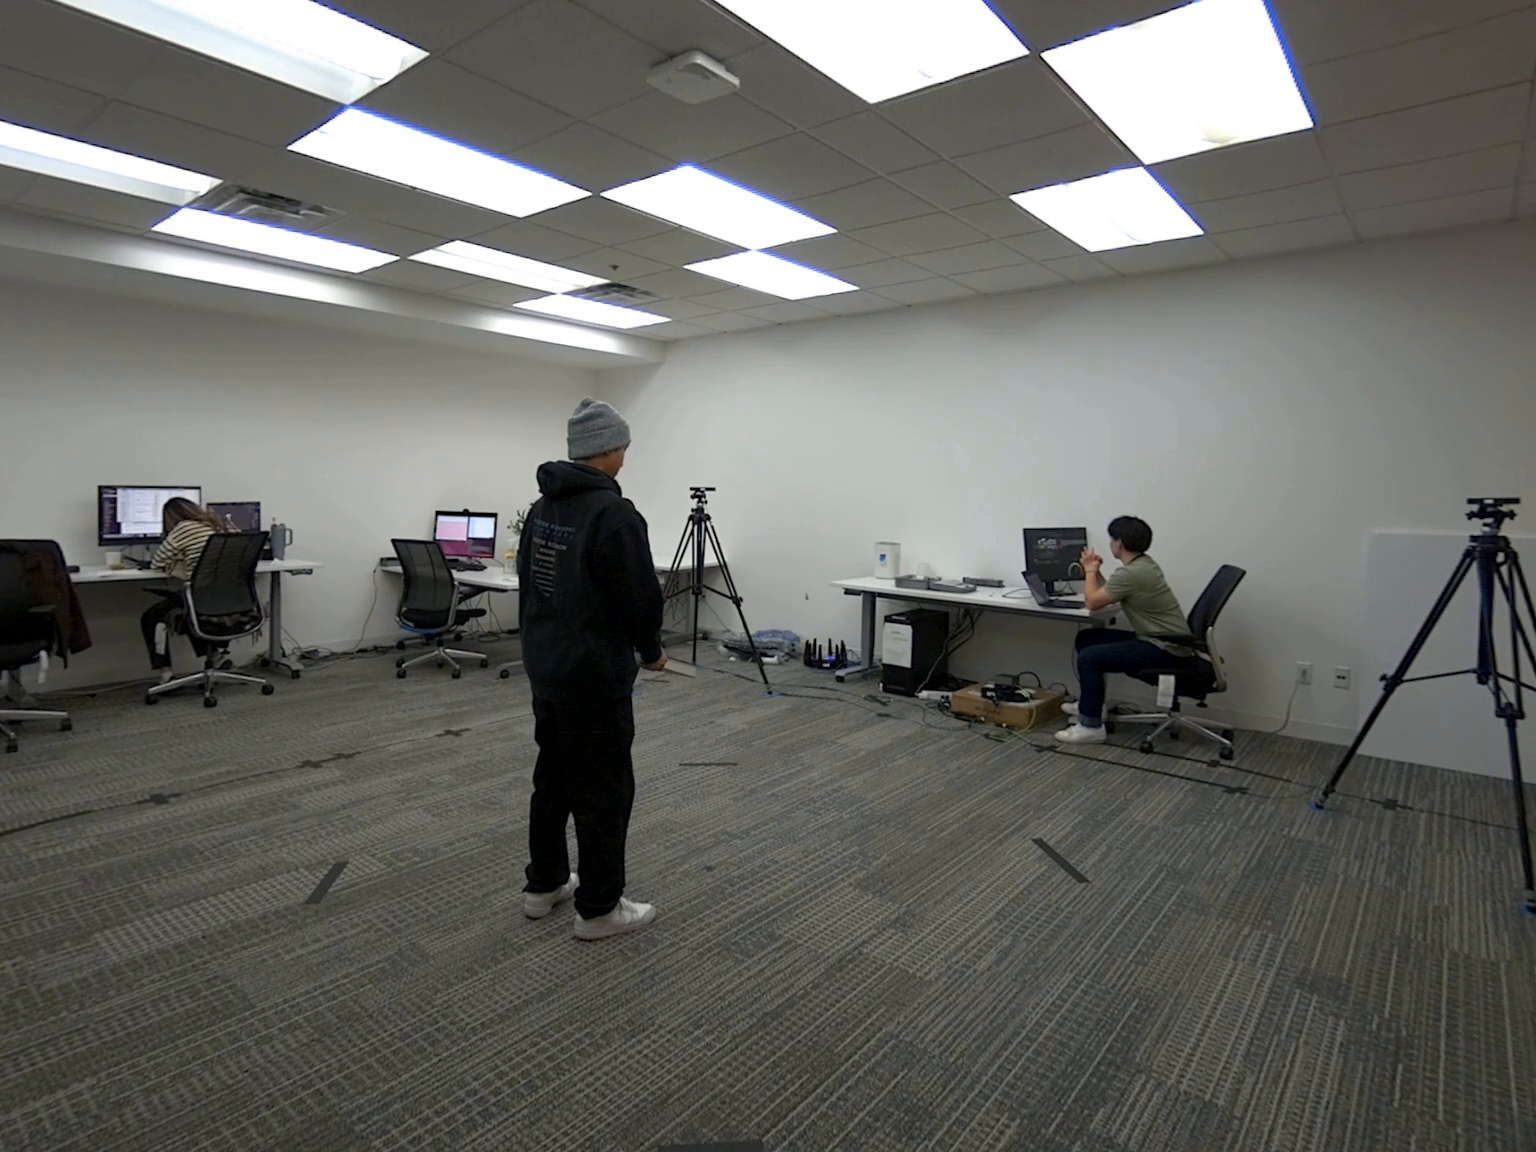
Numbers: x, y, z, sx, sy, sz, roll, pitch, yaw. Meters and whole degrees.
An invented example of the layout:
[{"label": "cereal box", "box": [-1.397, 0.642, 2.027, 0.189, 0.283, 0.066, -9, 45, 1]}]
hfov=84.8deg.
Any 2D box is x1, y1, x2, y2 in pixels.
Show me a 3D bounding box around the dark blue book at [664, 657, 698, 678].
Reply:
[{"label": "dark blue book", "box": [-0.397, 0.306, 2.958, 0.236, 0.045, 0.169, 19, -11, -40]}]
